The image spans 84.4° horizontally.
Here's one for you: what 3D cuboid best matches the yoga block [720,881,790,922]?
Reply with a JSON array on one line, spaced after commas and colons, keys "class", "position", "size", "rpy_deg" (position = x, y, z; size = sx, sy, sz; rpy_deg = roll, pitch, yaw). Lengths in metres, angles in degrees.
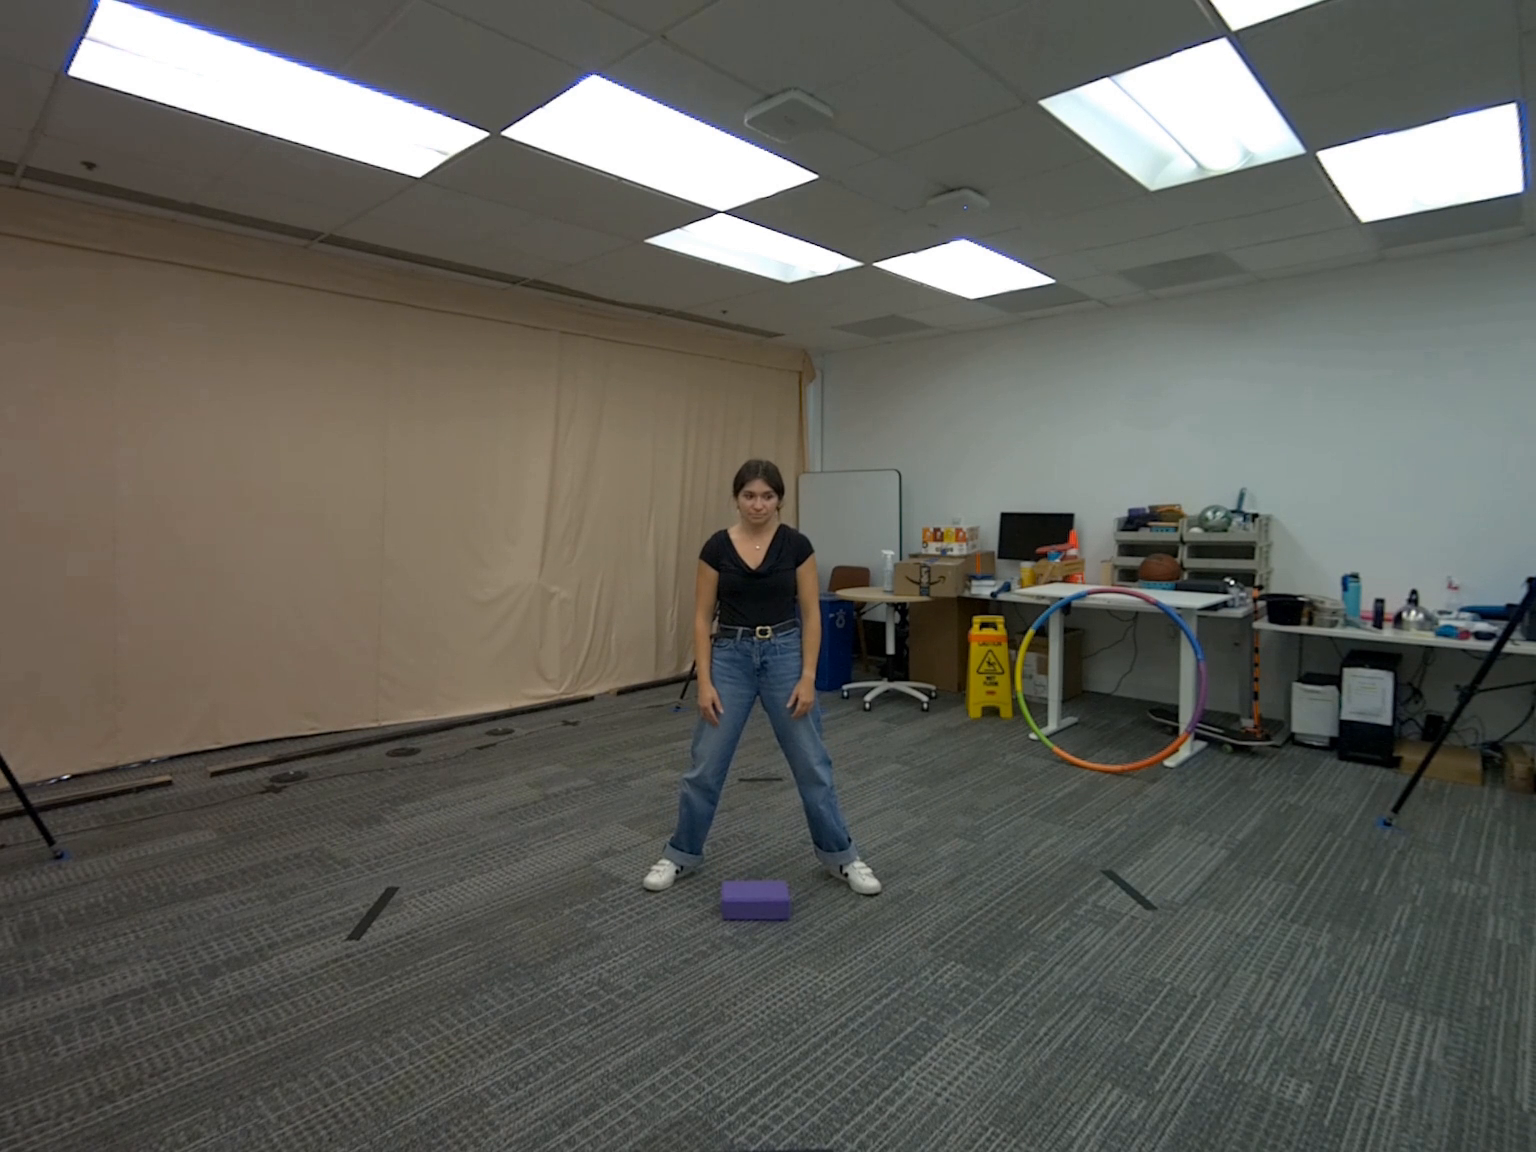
[{"class": "yoga block", "position": [-0.036, 1.113, 2.890], "size": [0.229, 0.076, 0.149], "rpy_deg": [-1, 5, 0]}]
